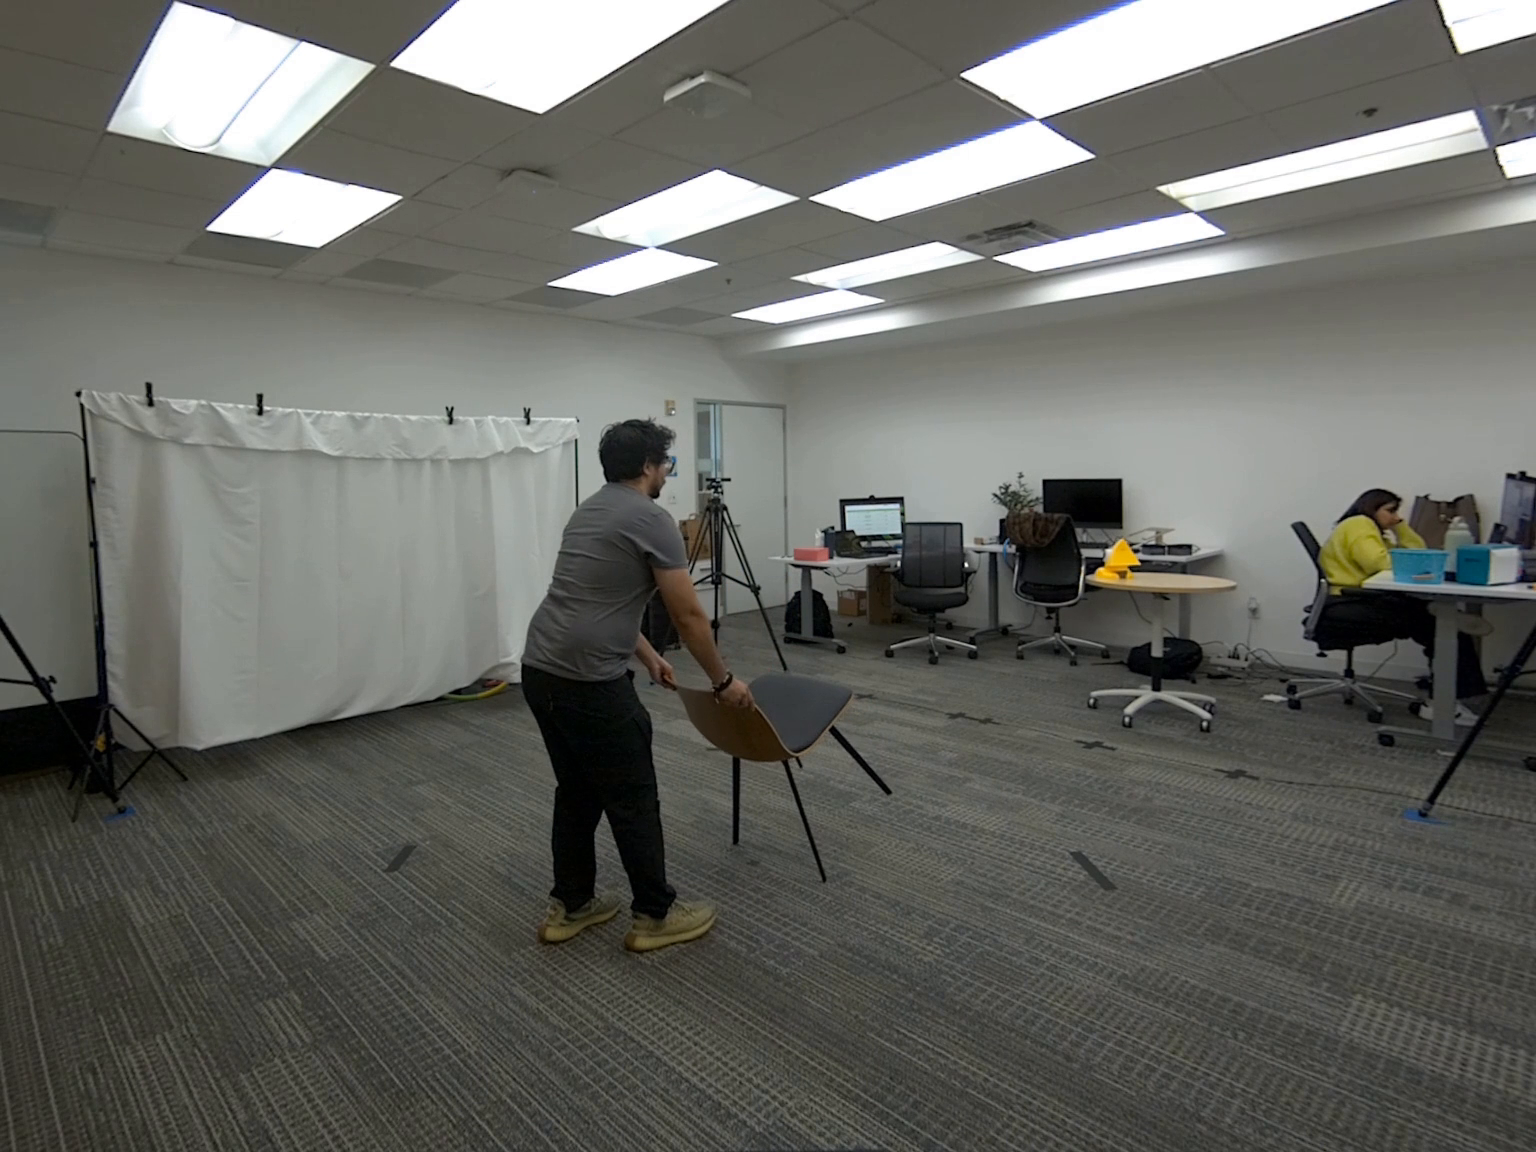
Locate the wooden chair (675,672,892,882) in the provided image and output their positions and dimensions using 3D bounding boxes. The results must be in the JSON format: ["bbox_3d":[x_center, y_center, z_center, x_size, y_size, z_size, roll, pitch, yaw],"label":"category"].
[{"bbox_3d":[0.038,0.554,3.086,0.493,0.853,0.522,3,37,44],"label":"wooden chair"}]
